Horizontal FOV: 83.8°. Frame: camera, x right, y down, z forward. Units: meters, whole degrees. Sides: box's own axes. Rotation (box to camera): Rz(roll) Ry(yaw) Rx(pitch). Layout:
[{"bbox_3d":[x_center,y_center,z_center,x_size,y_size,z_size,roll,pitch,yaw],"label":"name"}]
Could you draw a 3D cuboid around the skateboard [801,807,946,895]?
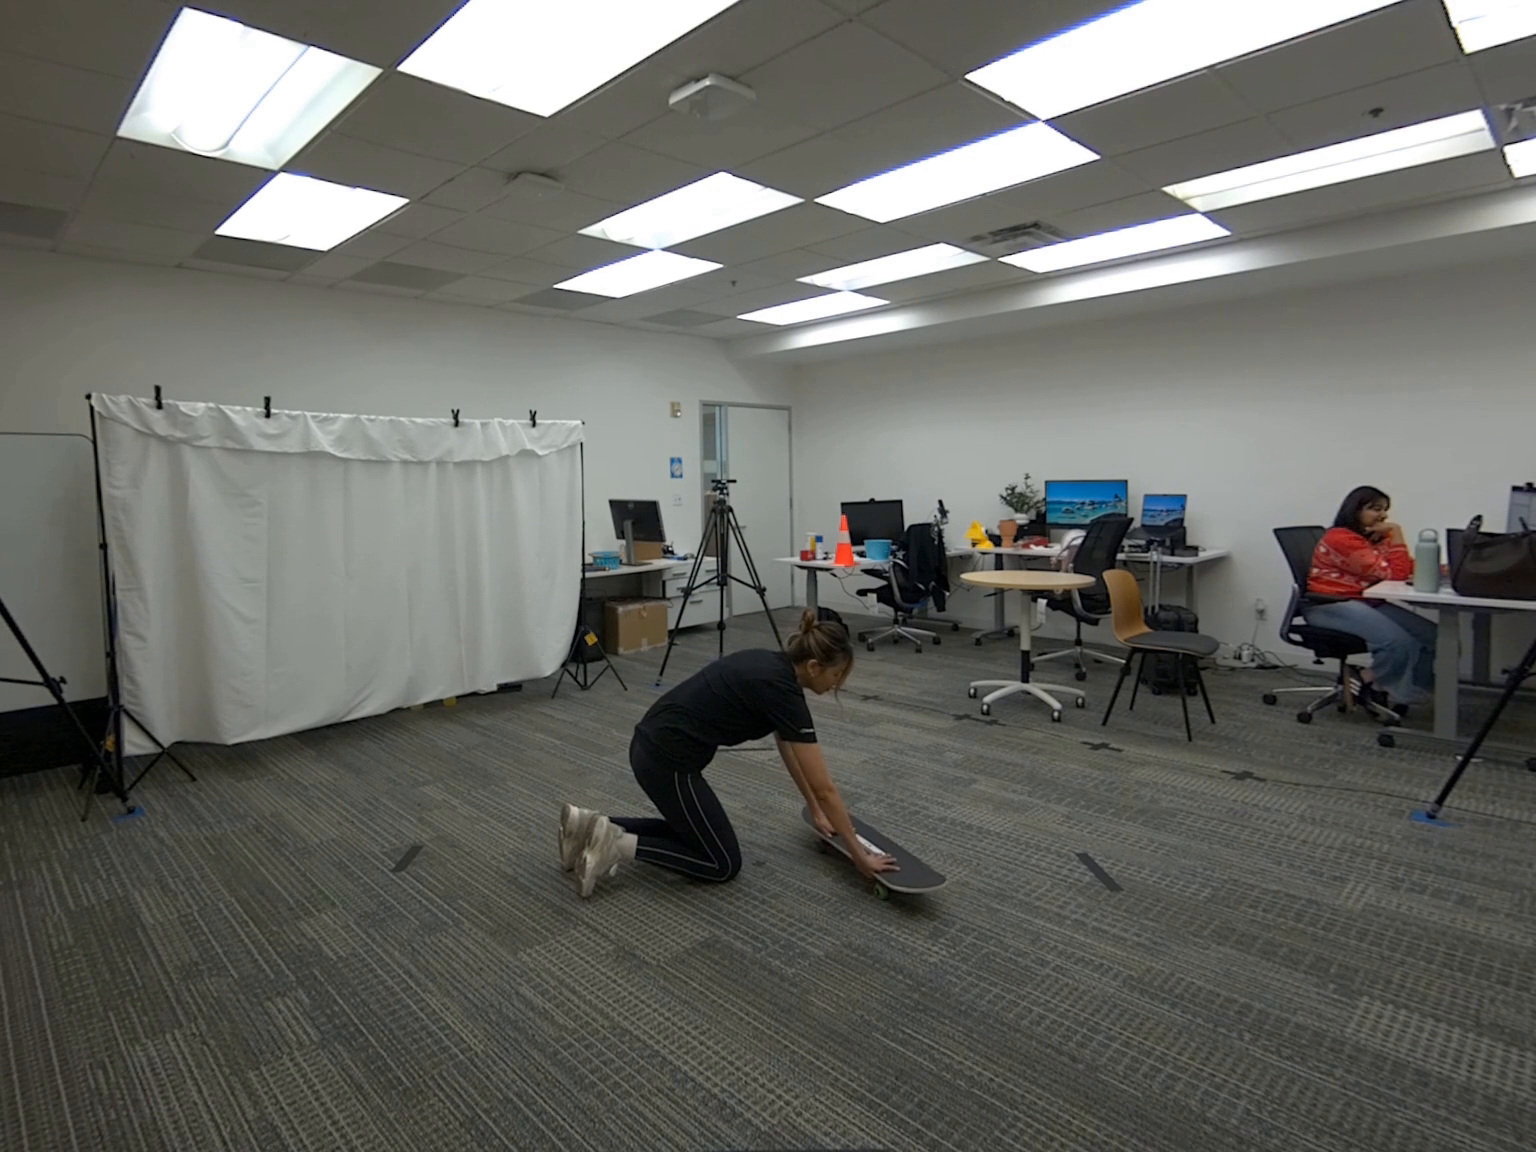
[{"bbox_3d":[0.350,0.984,3.039,0.189,0.110,0.805,-4,7,-25],"label":"skateboard"}]
